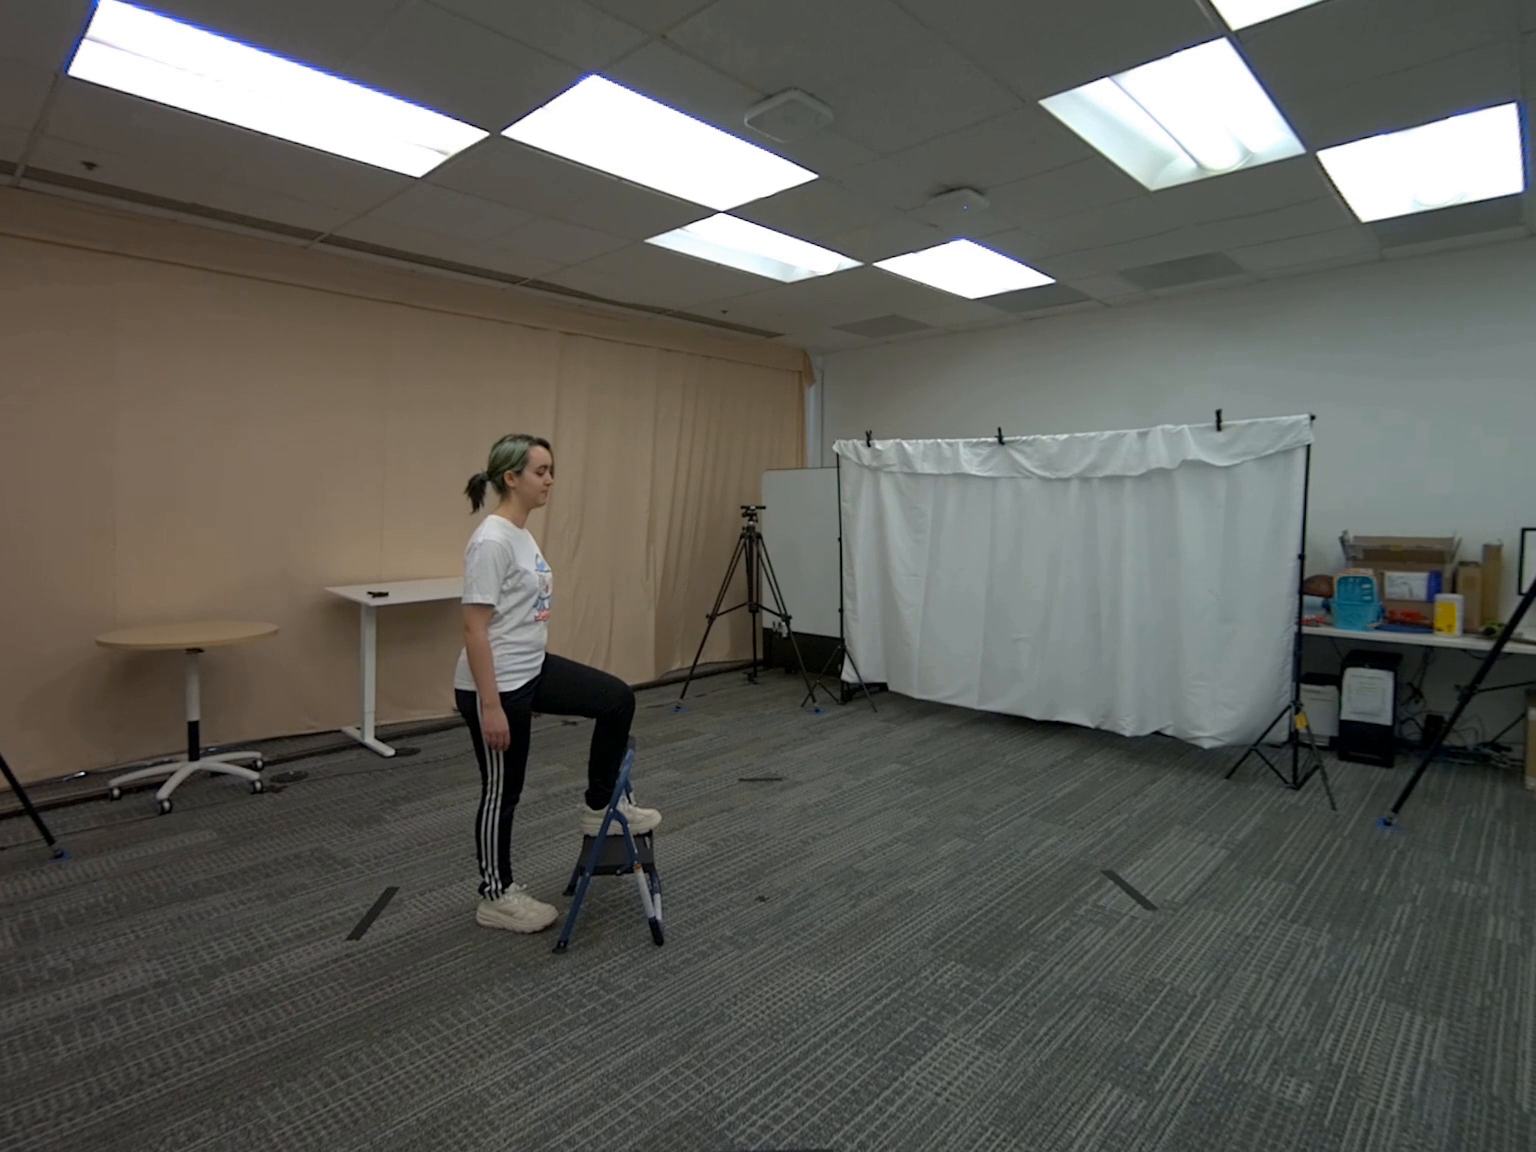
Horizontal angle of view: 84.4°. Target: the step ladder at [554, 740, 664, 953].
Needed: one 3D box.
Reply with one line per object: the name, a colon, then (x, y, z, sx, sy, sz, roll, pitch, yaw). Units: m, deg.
step ladder: (-0.533, 0.864, 2.834, 0.346, 0.605, 0.435, -1, 4, -8)
